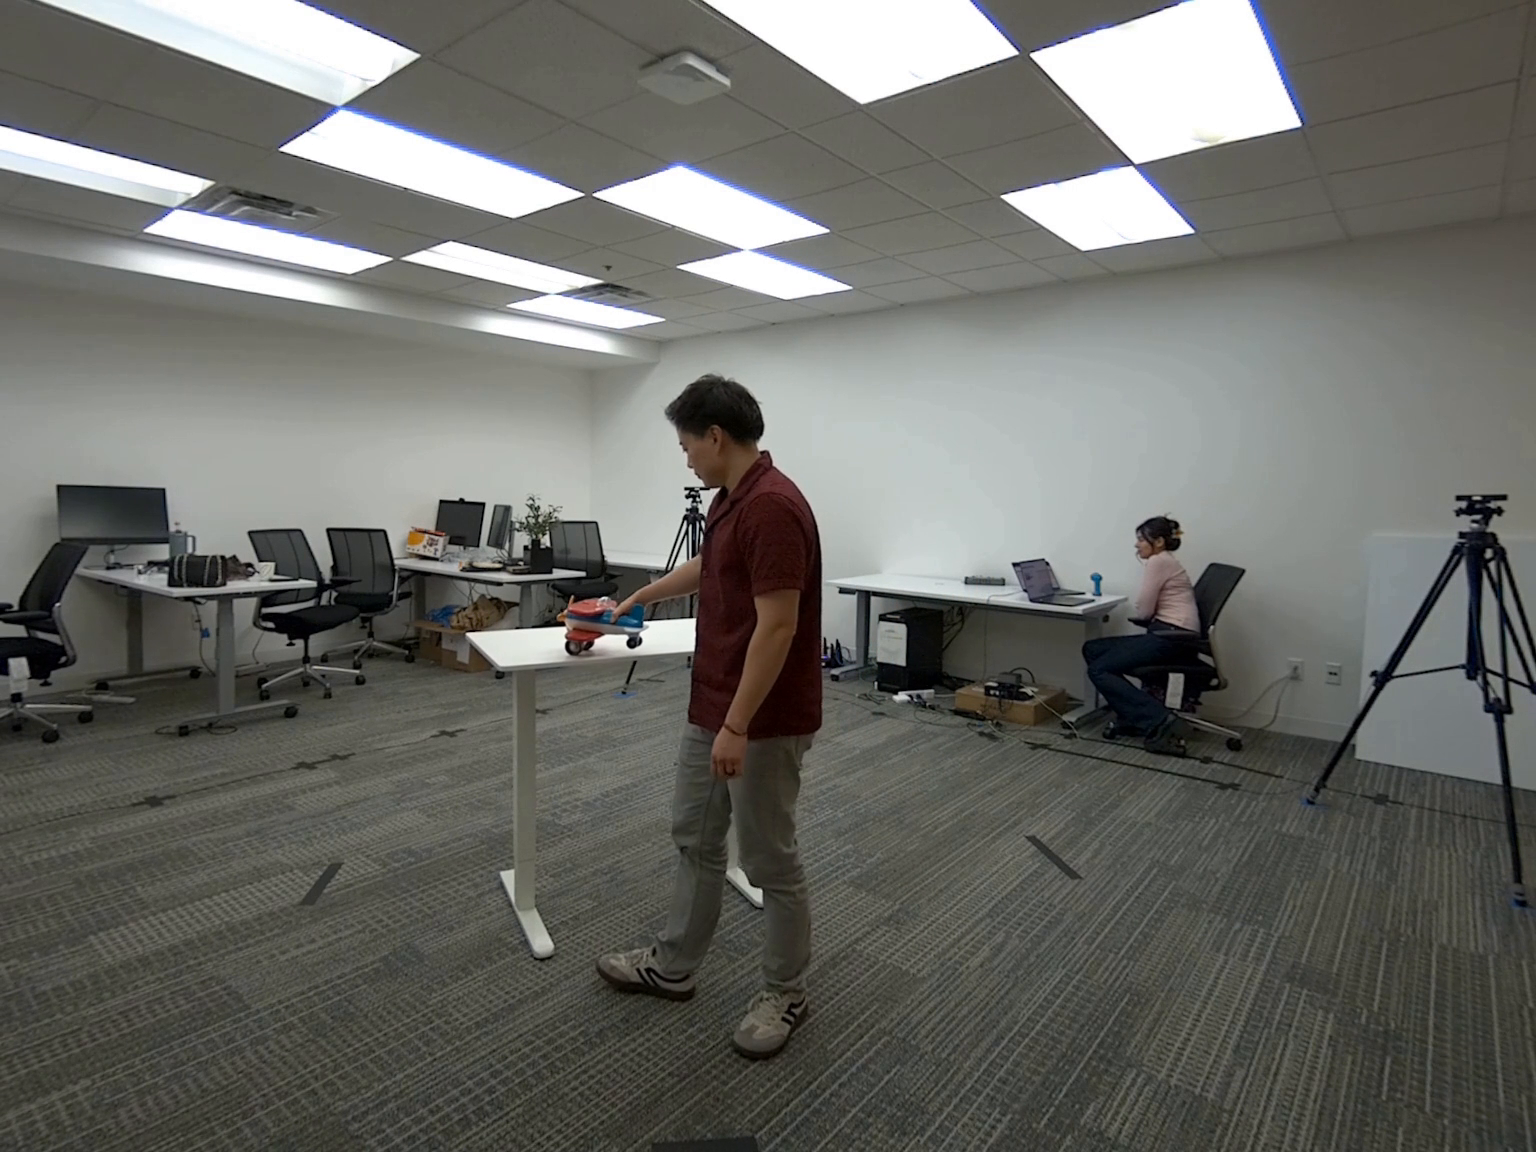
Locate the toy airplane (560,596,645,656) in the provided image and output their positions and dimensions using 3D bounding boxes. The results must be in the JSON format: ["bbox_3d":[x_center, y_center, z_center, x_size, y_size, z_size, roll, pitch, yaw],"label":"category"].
[{"bbox_3d":[-0.508,0.147,2.599,0.255,0.156,0.256,-8,4,-19],"label":"toy airplane"}]
